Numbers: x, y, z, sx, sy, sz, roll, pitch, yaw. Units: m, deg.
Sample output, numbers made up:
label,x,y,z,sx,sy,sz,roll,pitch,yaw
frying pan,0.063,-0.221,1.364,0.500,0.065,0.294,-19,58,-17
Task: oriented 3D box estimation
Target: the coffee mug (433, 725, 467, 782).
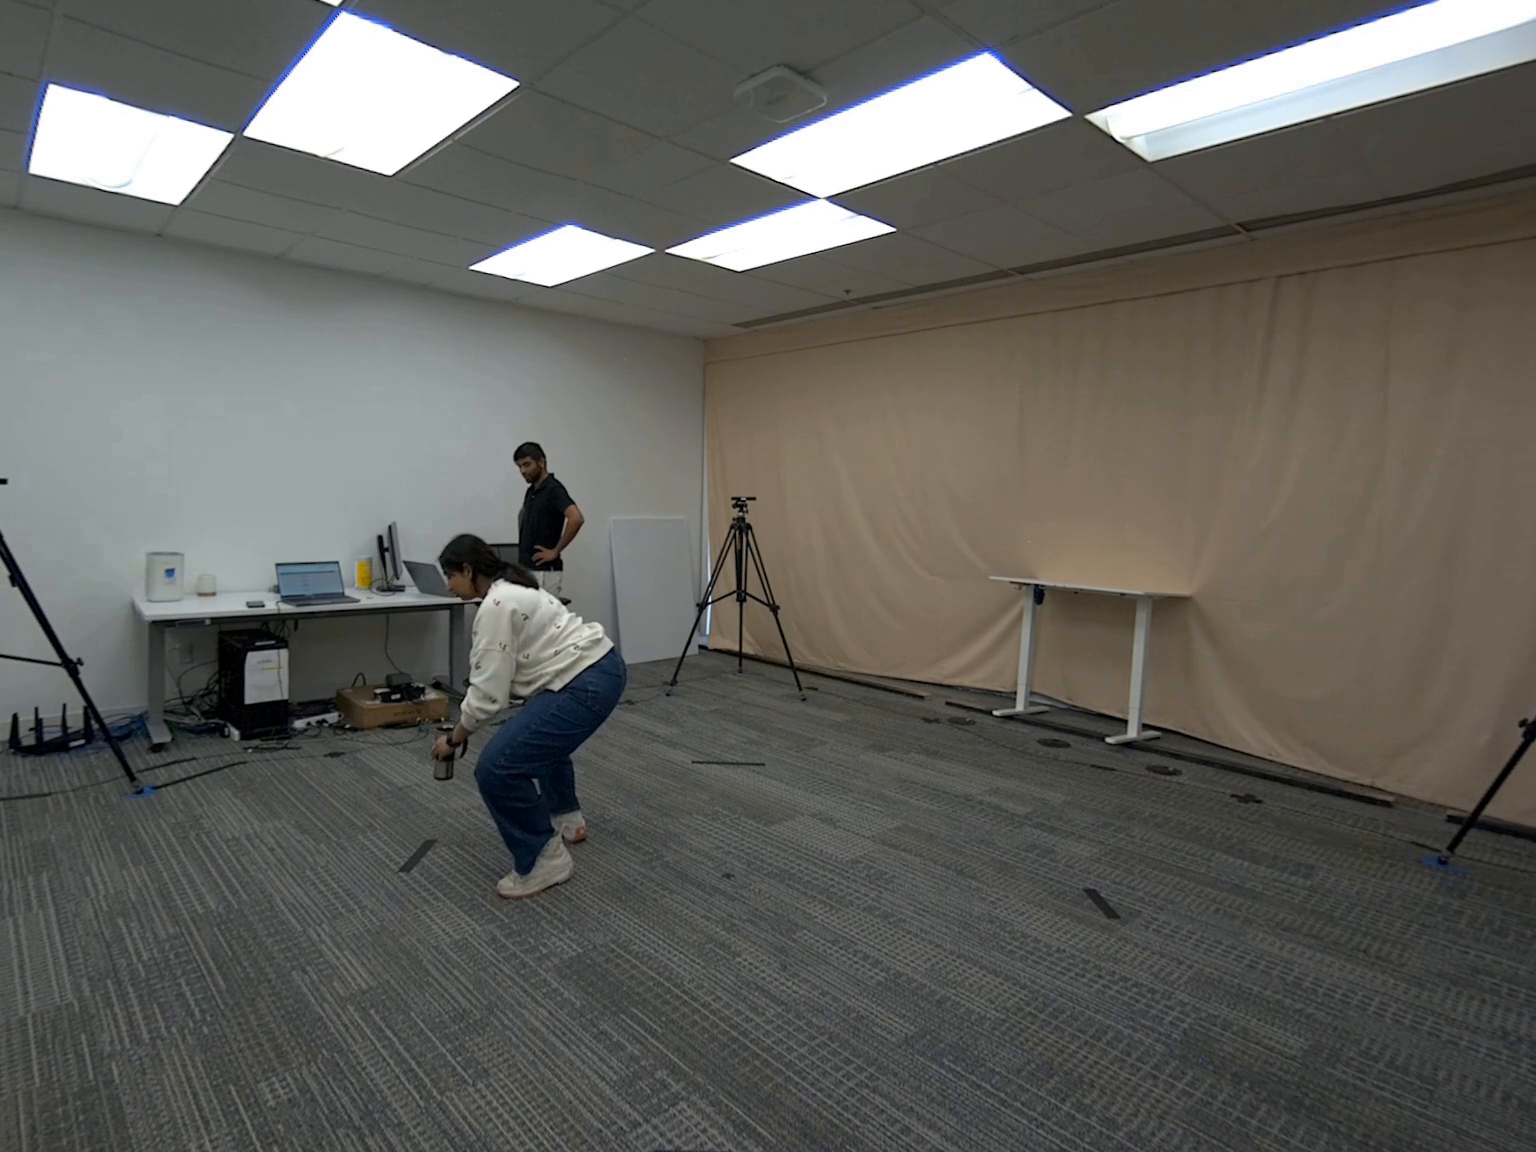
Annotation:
label,x,y,z,sx,sy,sz,roll,pitch,yaw
coffee mug,-1.247,0.669,3.199,0.119,0.203,0.090,12,1,-31
